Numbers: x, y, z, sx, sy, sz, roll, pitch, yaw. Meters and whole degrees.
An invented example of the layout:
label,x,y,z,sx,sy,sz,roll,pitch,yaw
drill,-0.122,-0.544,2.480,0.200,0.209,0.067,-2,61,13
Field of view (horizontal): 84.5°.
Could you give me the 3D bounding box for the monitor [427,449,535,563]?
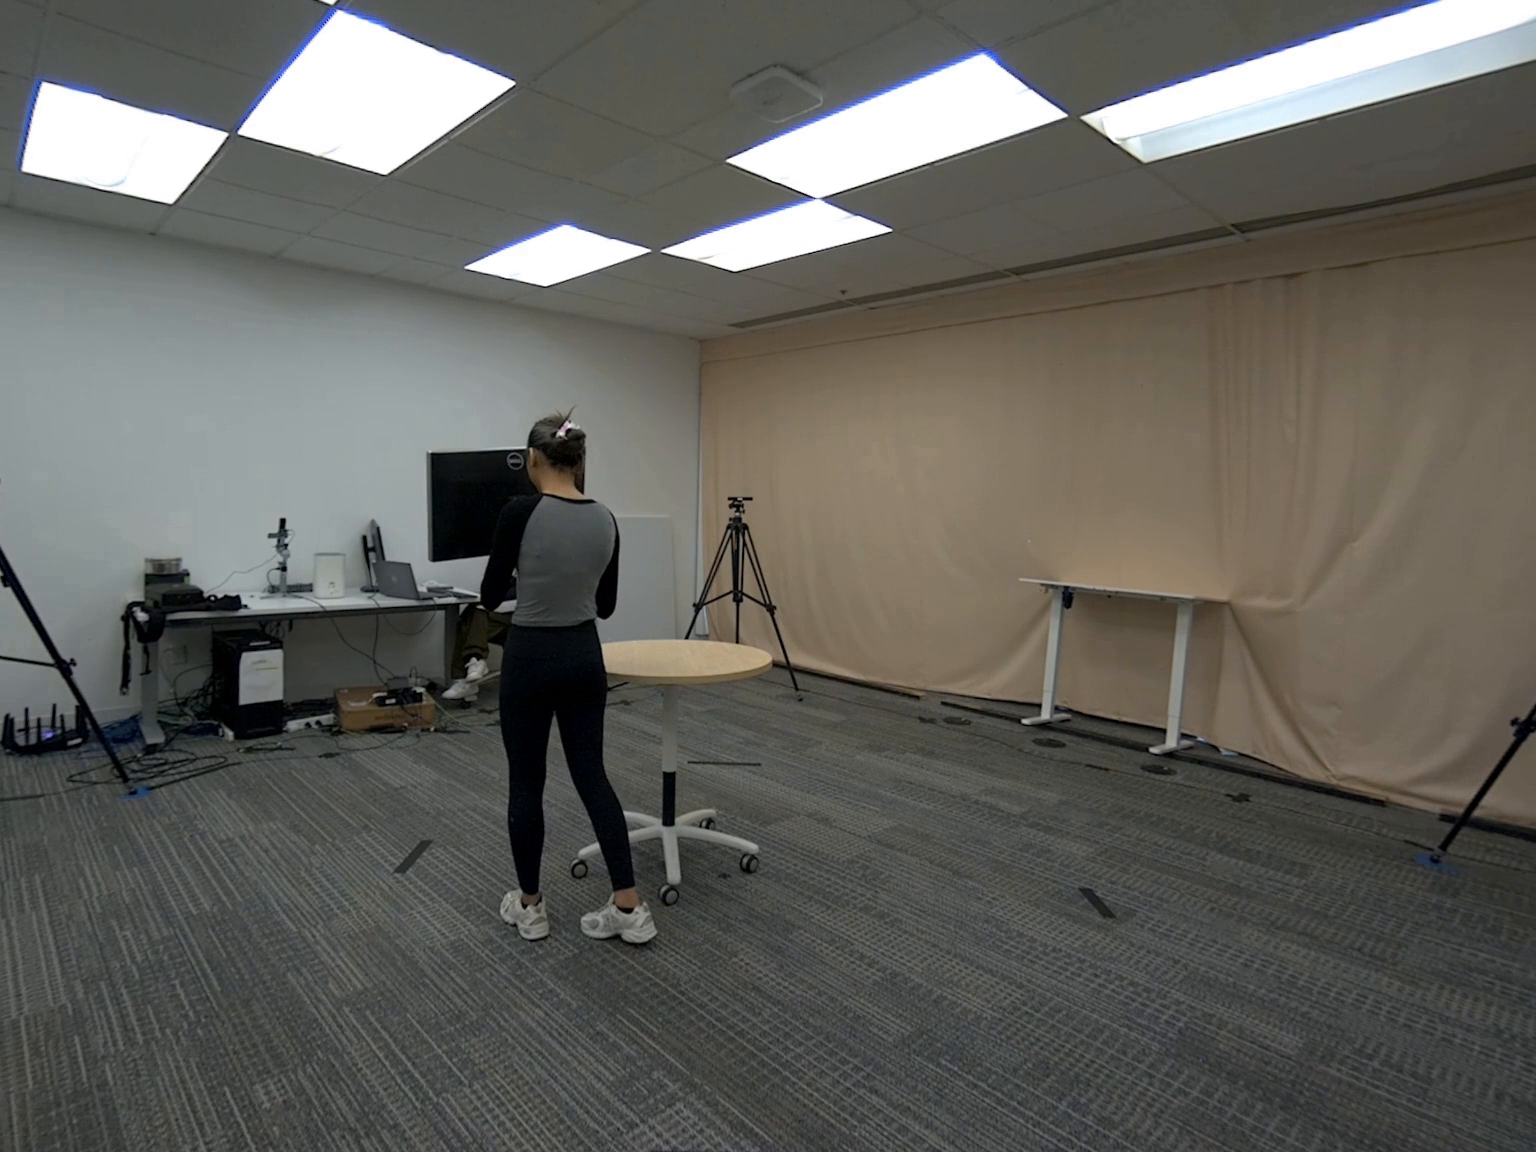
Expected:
label,x,y,z,sx,sy,sz,roll,pitch,yaw
monitor,-0.850,-0.164,2.828,0.528,0.520,0.192,-9,8,-42
